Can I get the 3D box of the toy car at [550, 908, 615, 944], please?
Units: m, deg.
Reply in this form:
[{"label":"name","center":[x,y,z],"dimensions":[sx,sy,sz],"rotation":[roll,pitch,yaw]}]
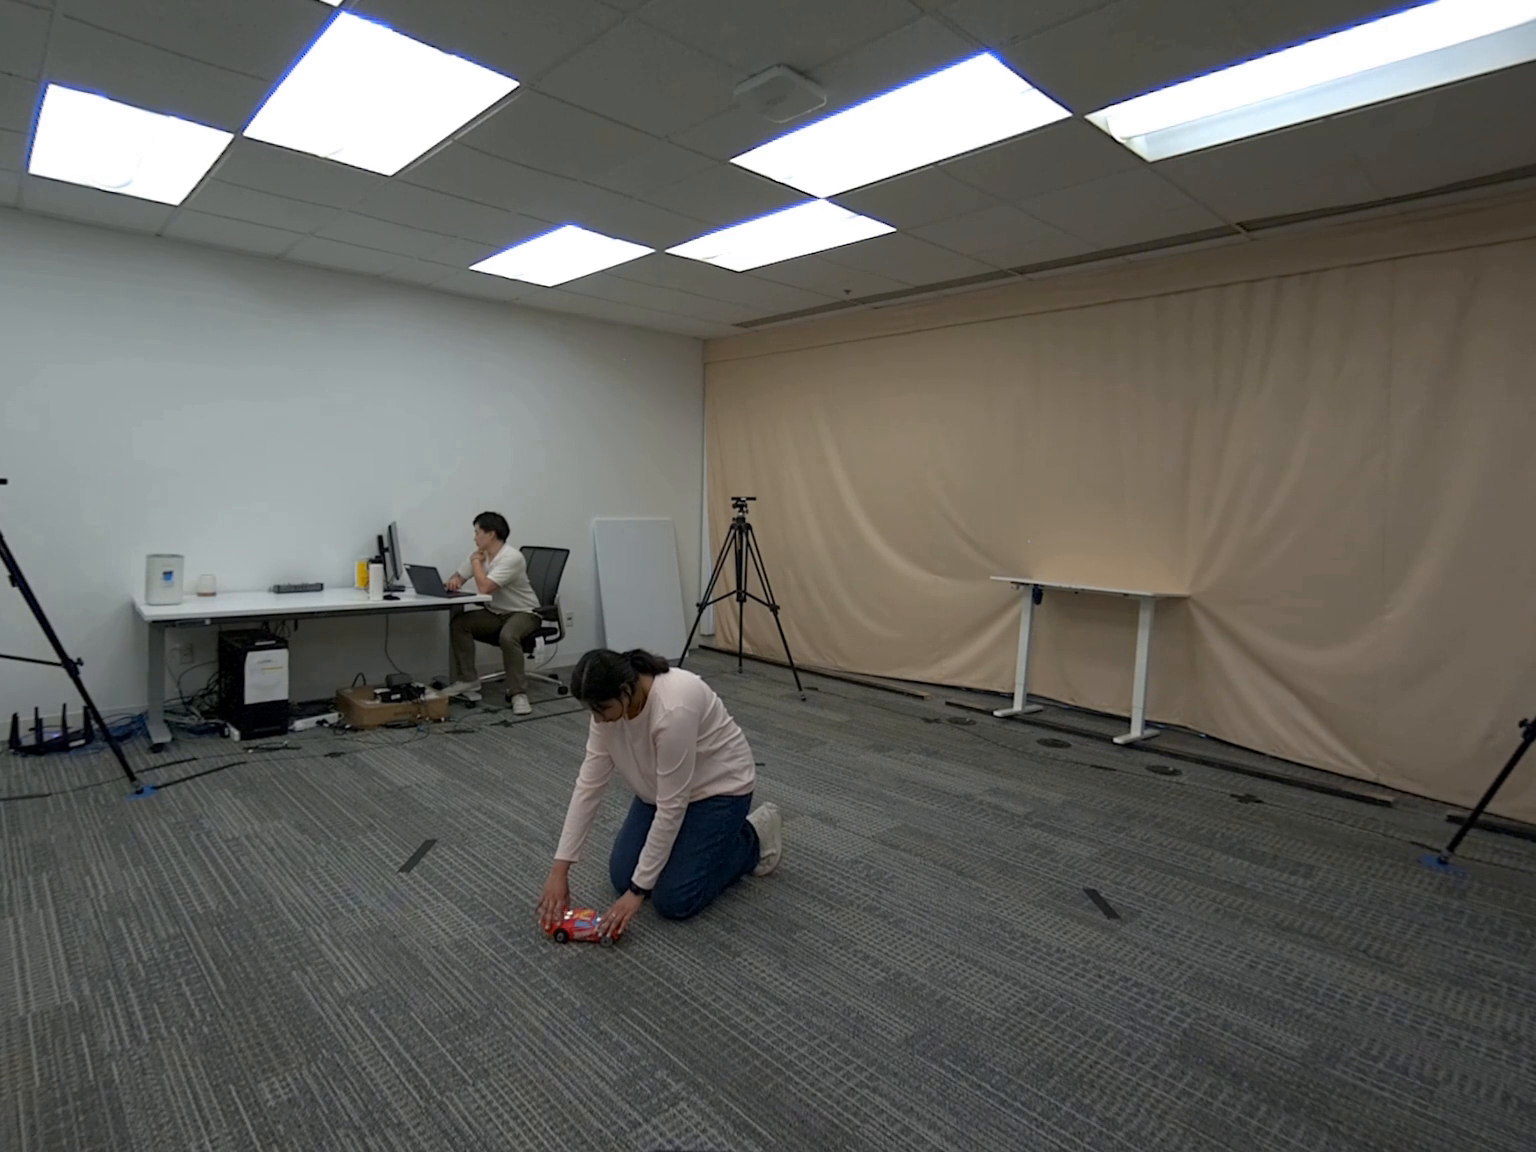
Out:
[{"label":"toy car","center":[-0.597,1.108,2.652],"dimensions":[0.256,0.083,0.130],"rotation":[14,6,5]}]
